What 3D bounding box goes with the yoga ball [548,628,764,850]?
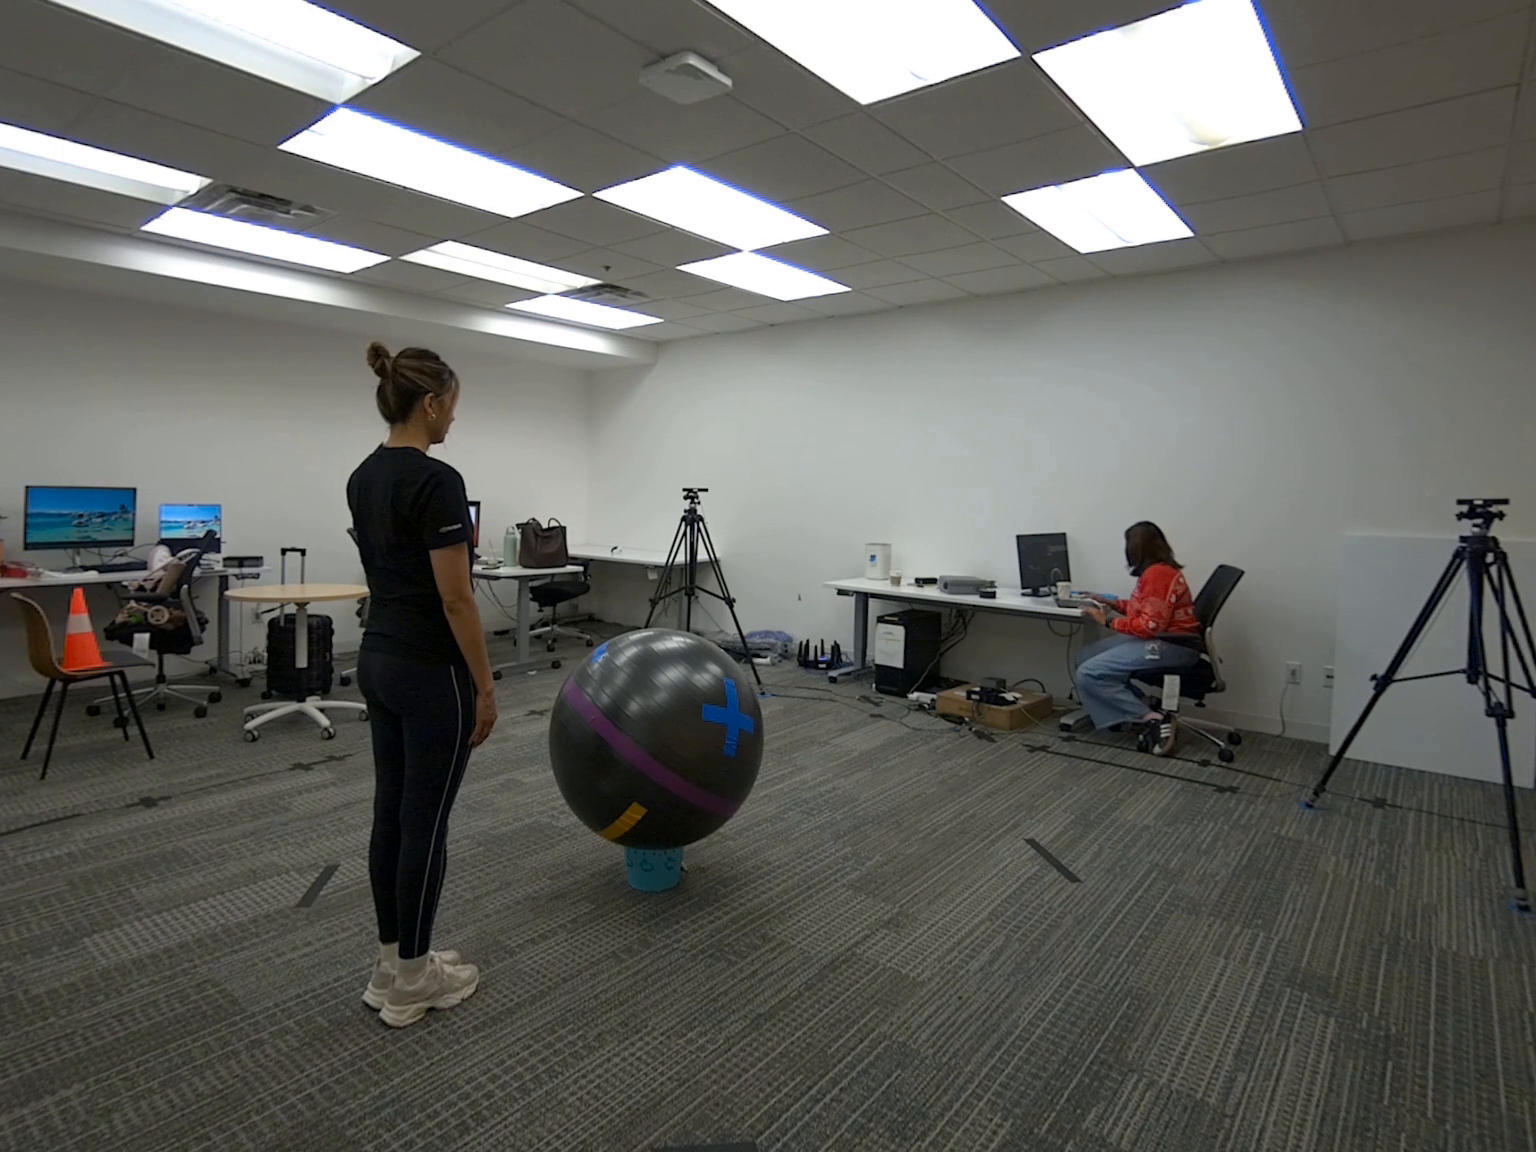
[{"bbox_3d":[-0.399,0.565,3.000,0.757,0.755,0.762,1,4,-2],"label":"yoga ball"}]
